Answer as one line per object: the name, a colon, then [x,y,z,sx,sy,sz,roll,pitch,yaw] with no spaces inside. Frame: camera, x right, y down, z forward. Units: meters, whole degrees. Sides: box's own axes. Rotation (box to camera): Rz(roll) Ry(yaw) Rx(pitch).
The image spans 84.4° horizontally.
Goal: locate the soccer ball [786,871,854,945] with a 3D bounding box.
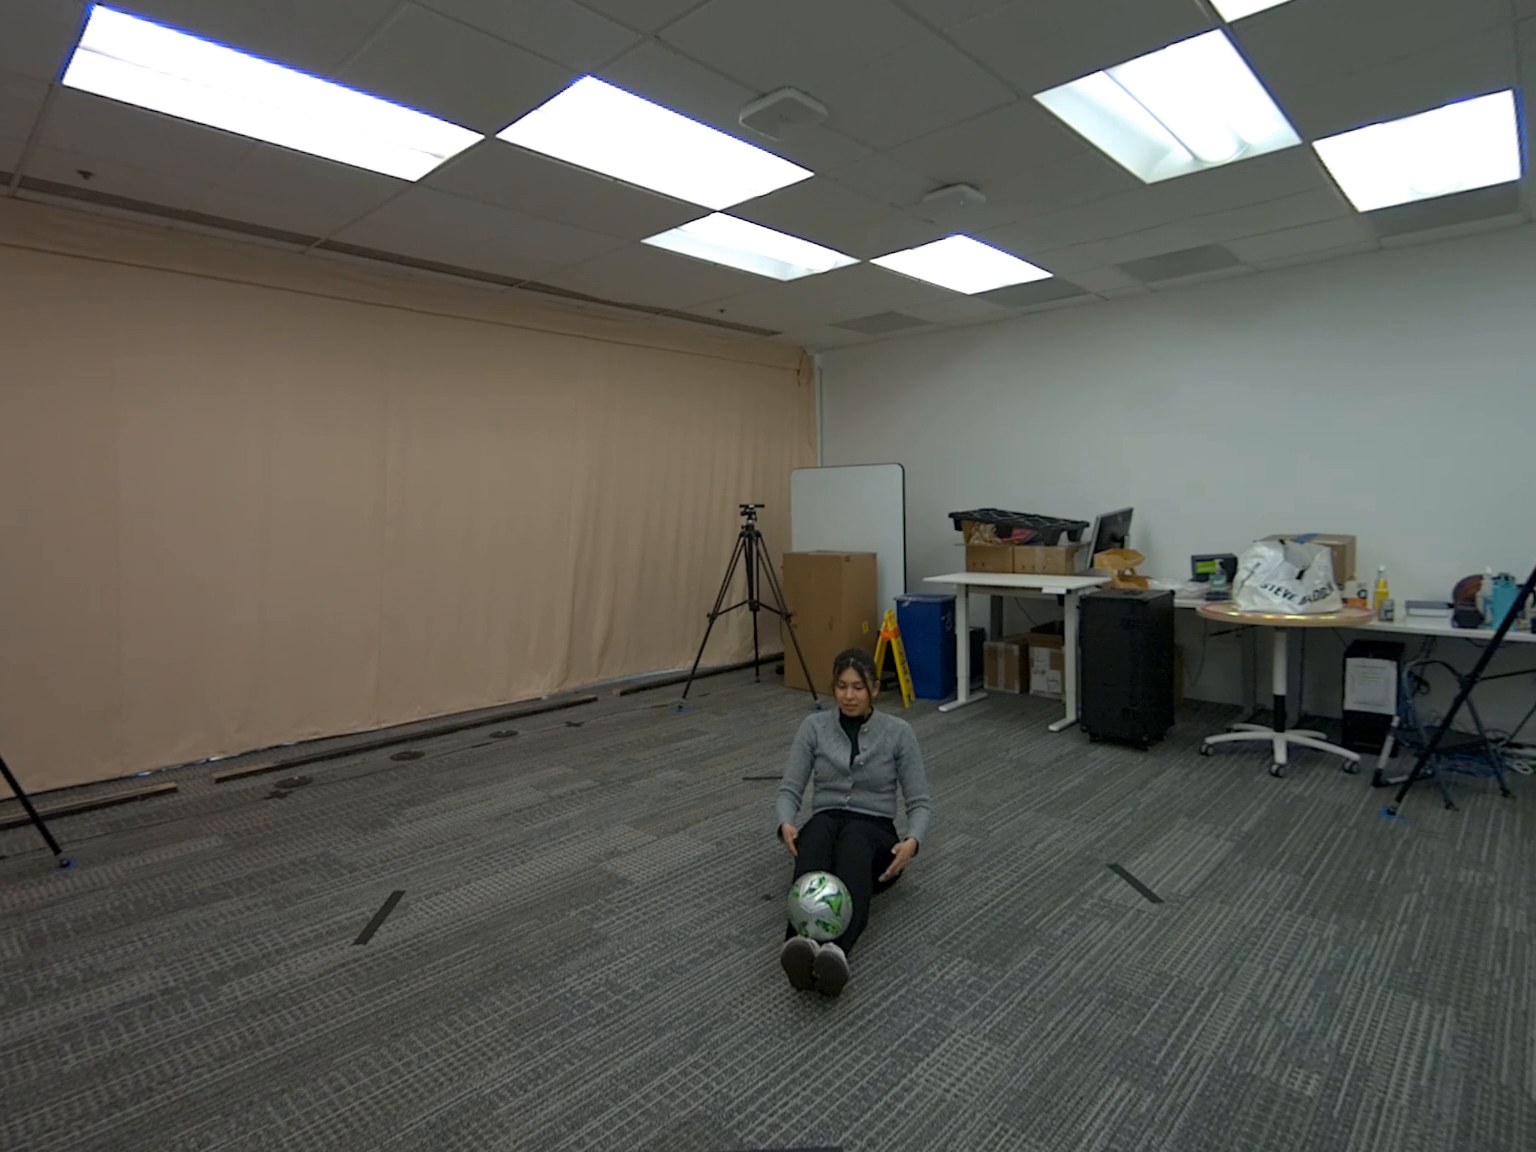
soccer ball: [0.150,0.955,2.425,0.187,0.187,0.188,-1,4,-2]
